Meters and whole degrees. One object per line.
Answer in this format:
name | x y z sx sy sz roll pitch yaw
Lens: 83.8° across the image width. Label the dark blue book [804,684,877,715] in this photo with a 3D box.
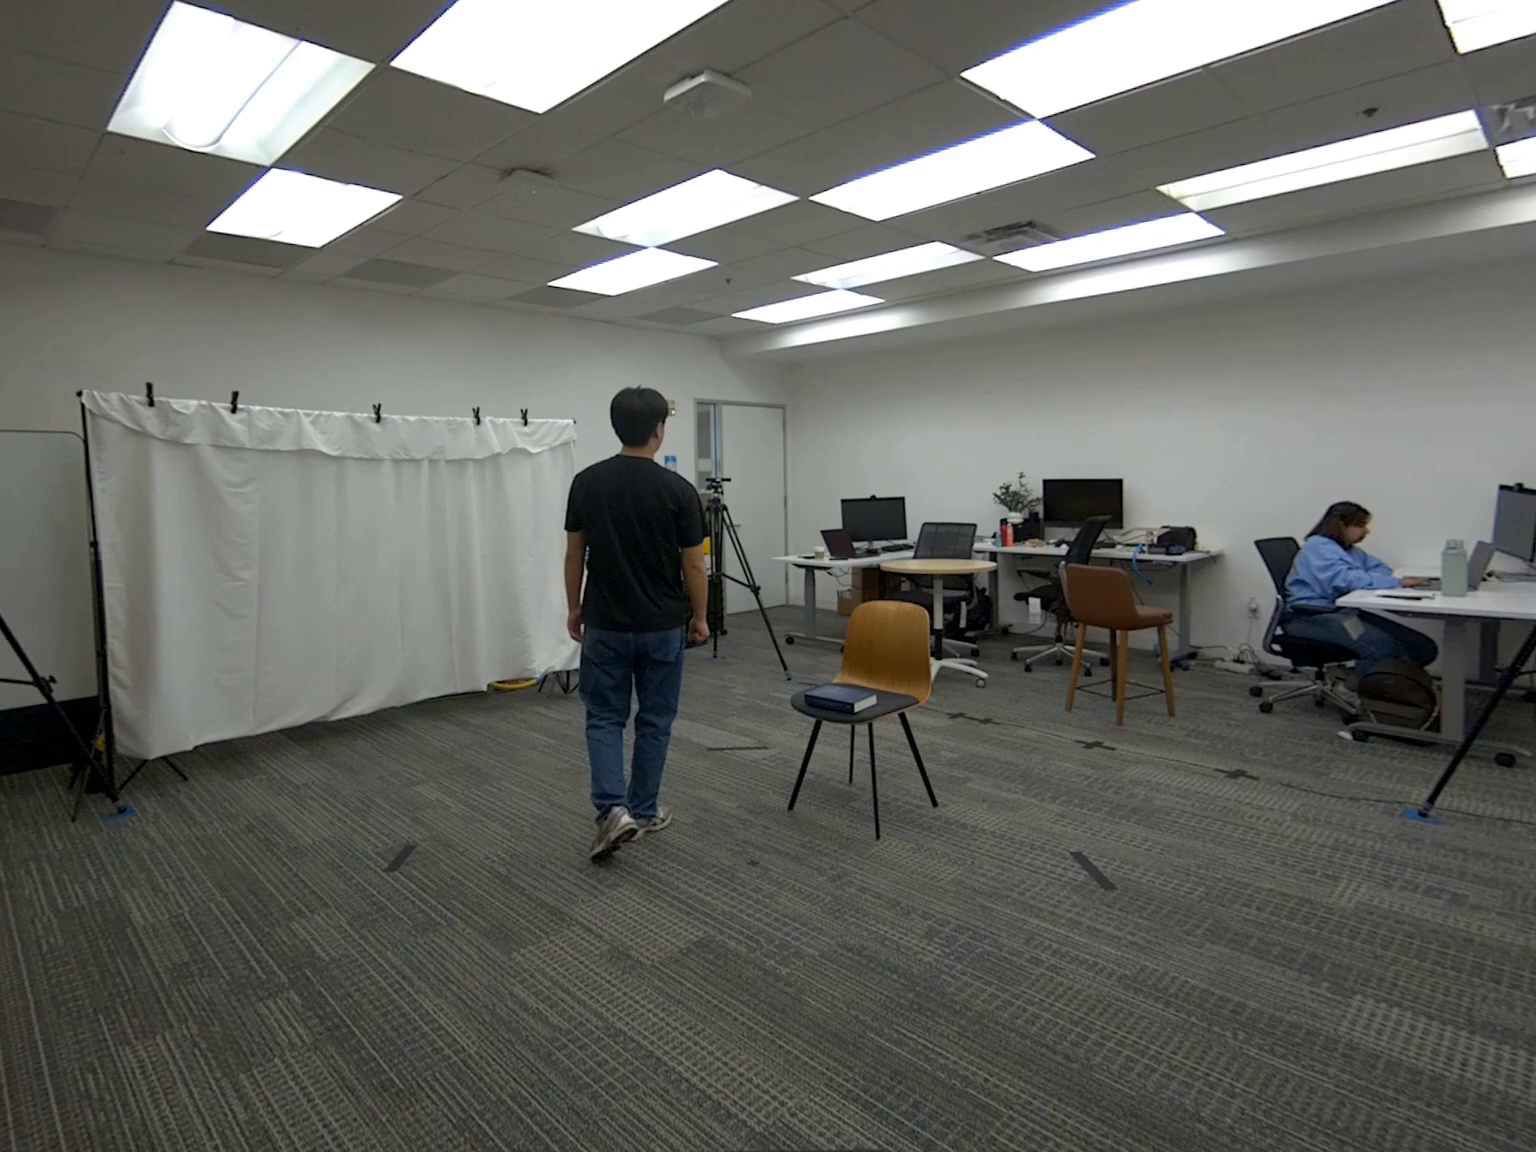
dark blue book | 0.293 0.488 3.431 0.252 0.045 0.159 4 10 42
